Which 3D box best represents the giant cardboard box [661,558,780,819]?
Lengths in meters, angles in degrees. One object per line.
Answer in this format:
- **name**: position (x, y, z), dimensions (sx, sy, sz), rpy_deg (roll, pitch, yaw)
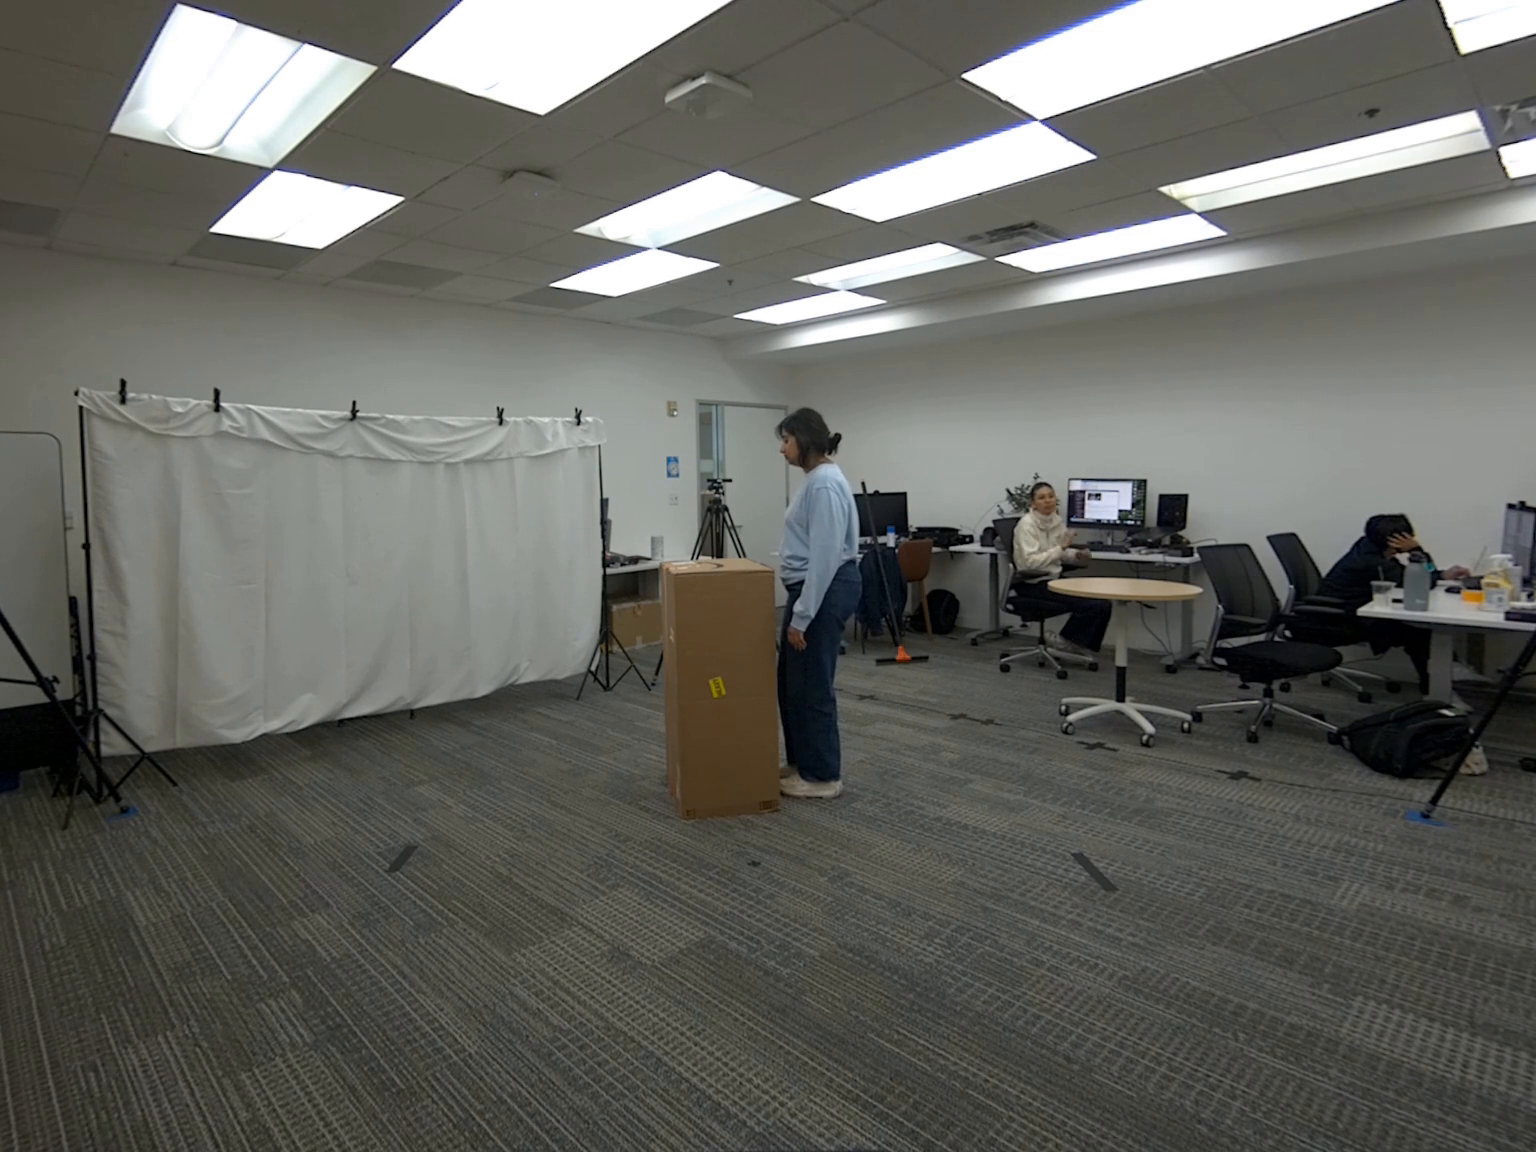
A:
- **giant cardboard box**: position (-0.236, 0.462, 3.809), dimensions (0.421, 1.023, 0.586), rpy_deg (-2, 3, -13)
